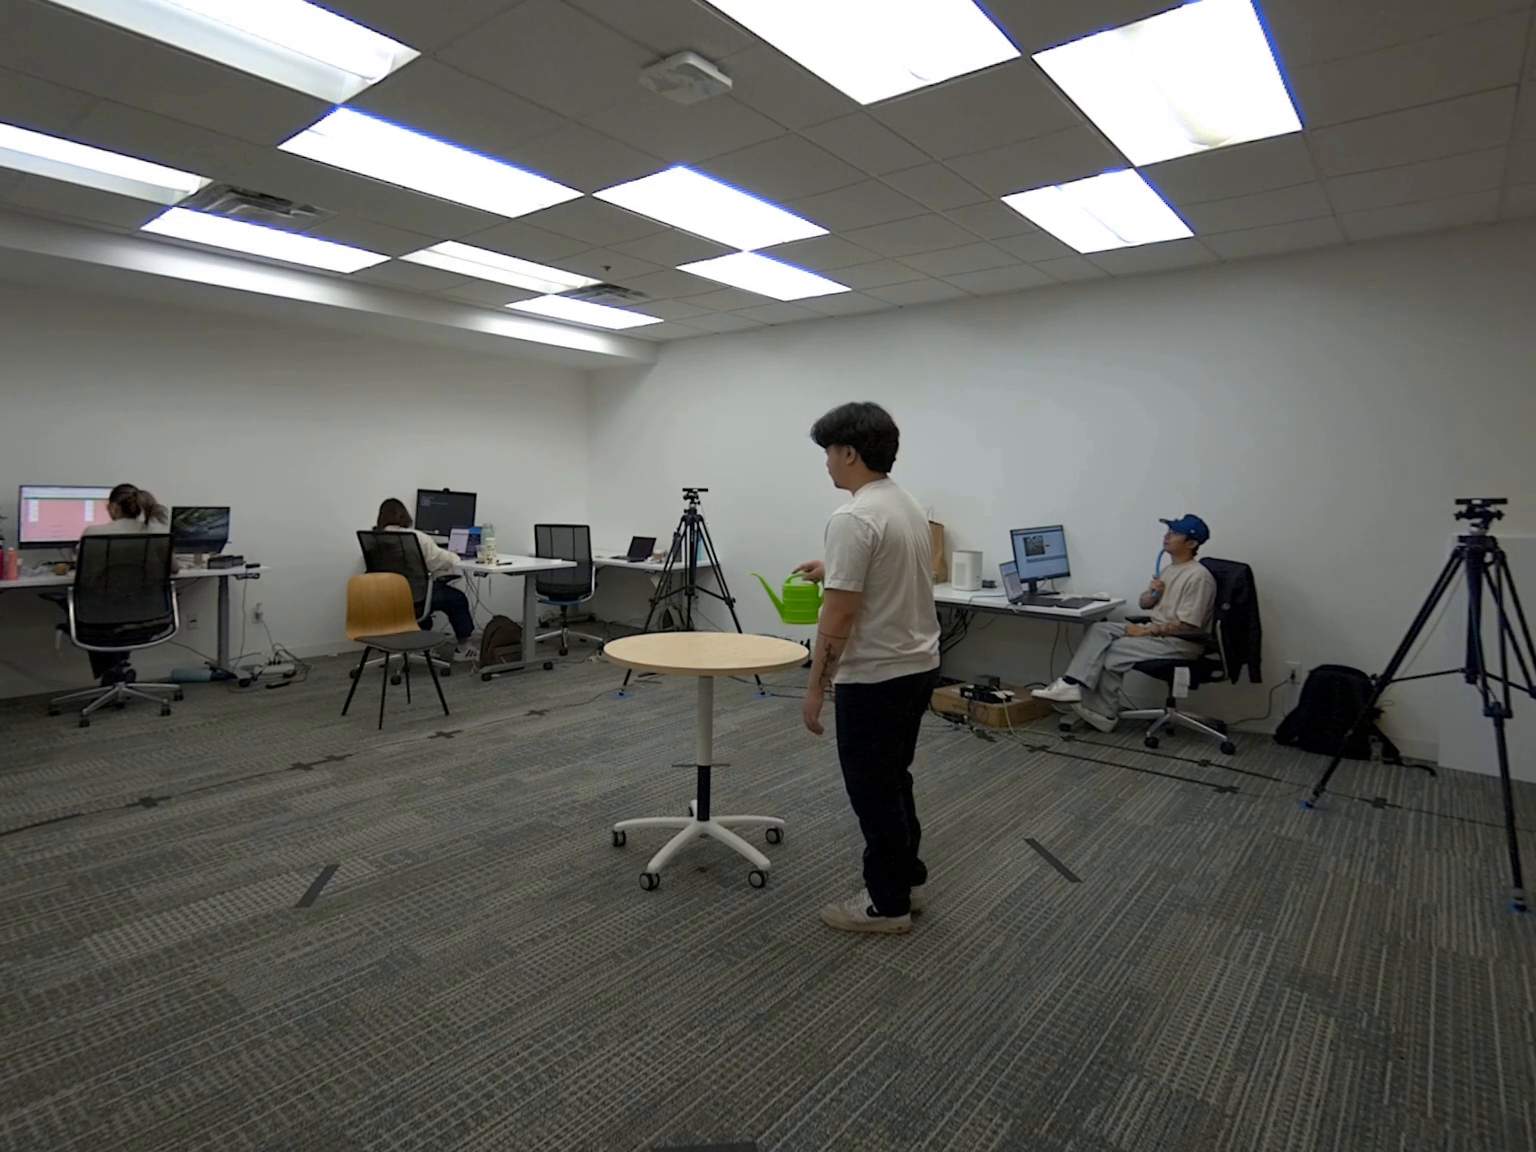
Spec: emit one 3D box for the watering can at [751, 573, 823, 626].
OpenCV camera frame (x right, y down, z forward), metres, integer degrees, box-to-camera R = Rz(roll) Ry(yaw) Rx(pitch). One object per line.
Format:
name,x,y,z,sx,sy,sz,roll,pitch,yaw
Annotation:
watering can,0.063,0.073,2.952,0.278,0.177,0.098,3,-1,1
